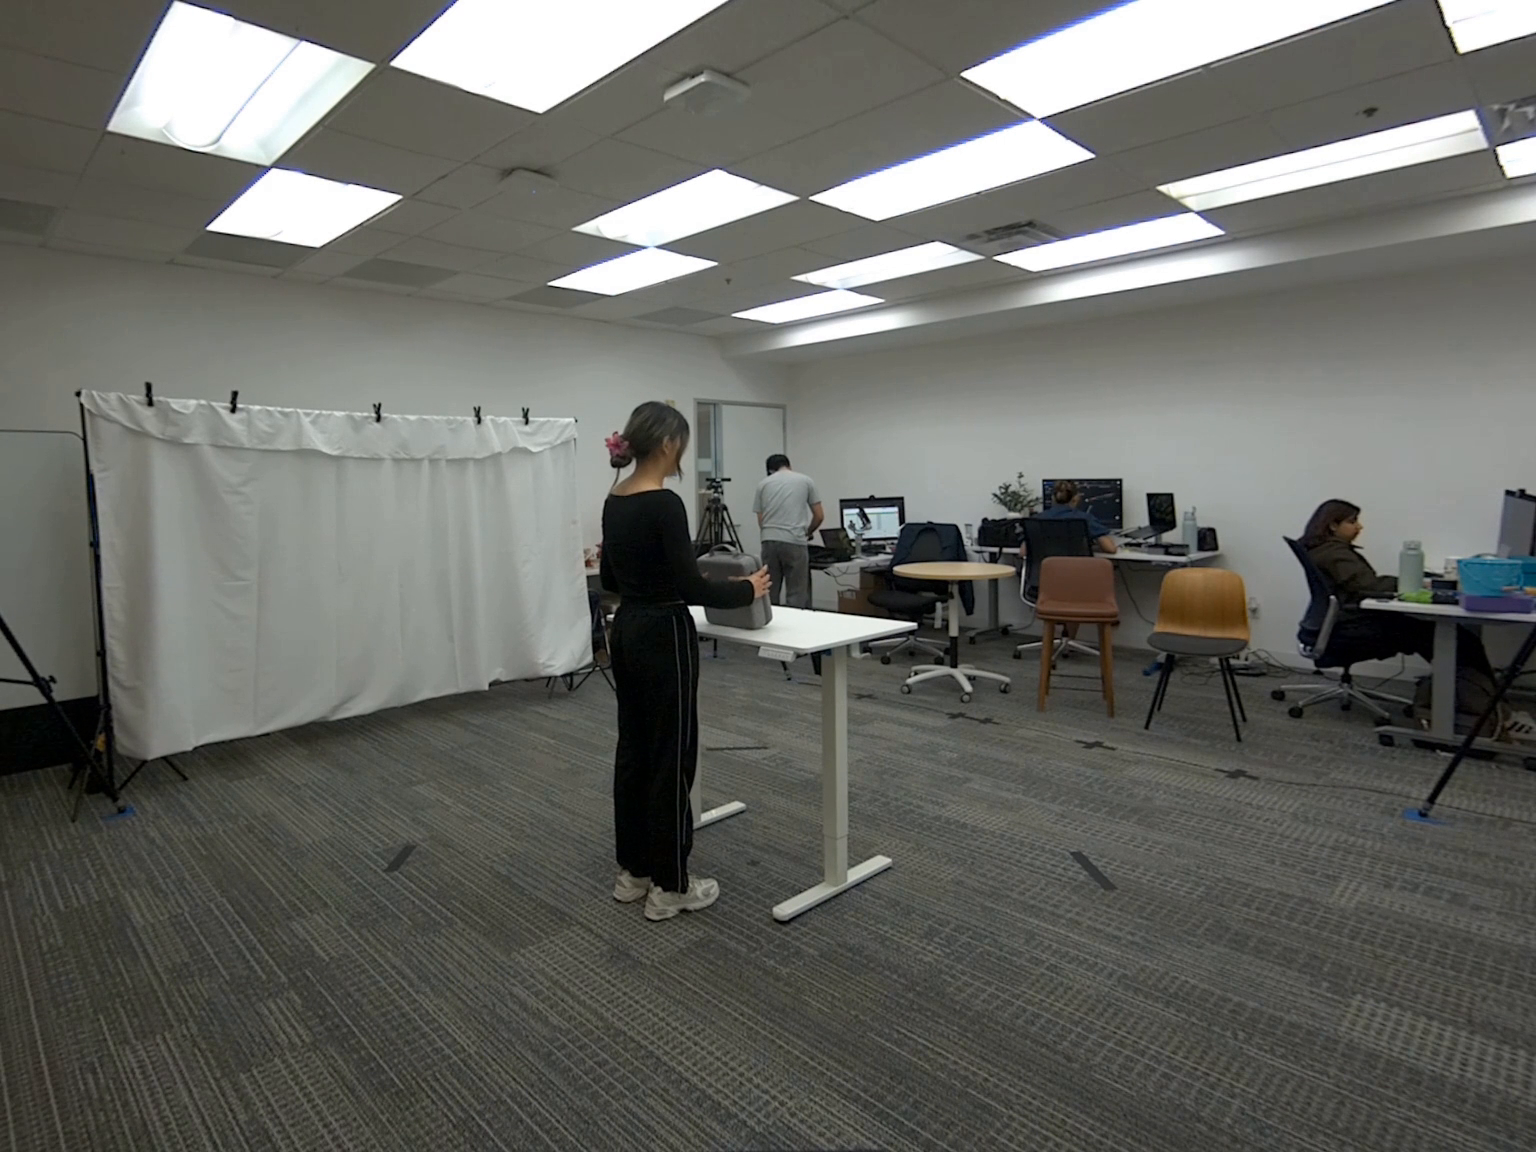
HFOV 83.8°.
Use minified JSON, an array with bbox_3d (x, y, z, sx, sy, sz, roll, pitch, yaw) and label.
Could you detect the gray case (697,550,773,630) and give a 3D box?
[{"bbox_3d":[-0.116,0.046,2.957,0.265,0.257,0.102,3,17,44],"label":"gray case"}]
